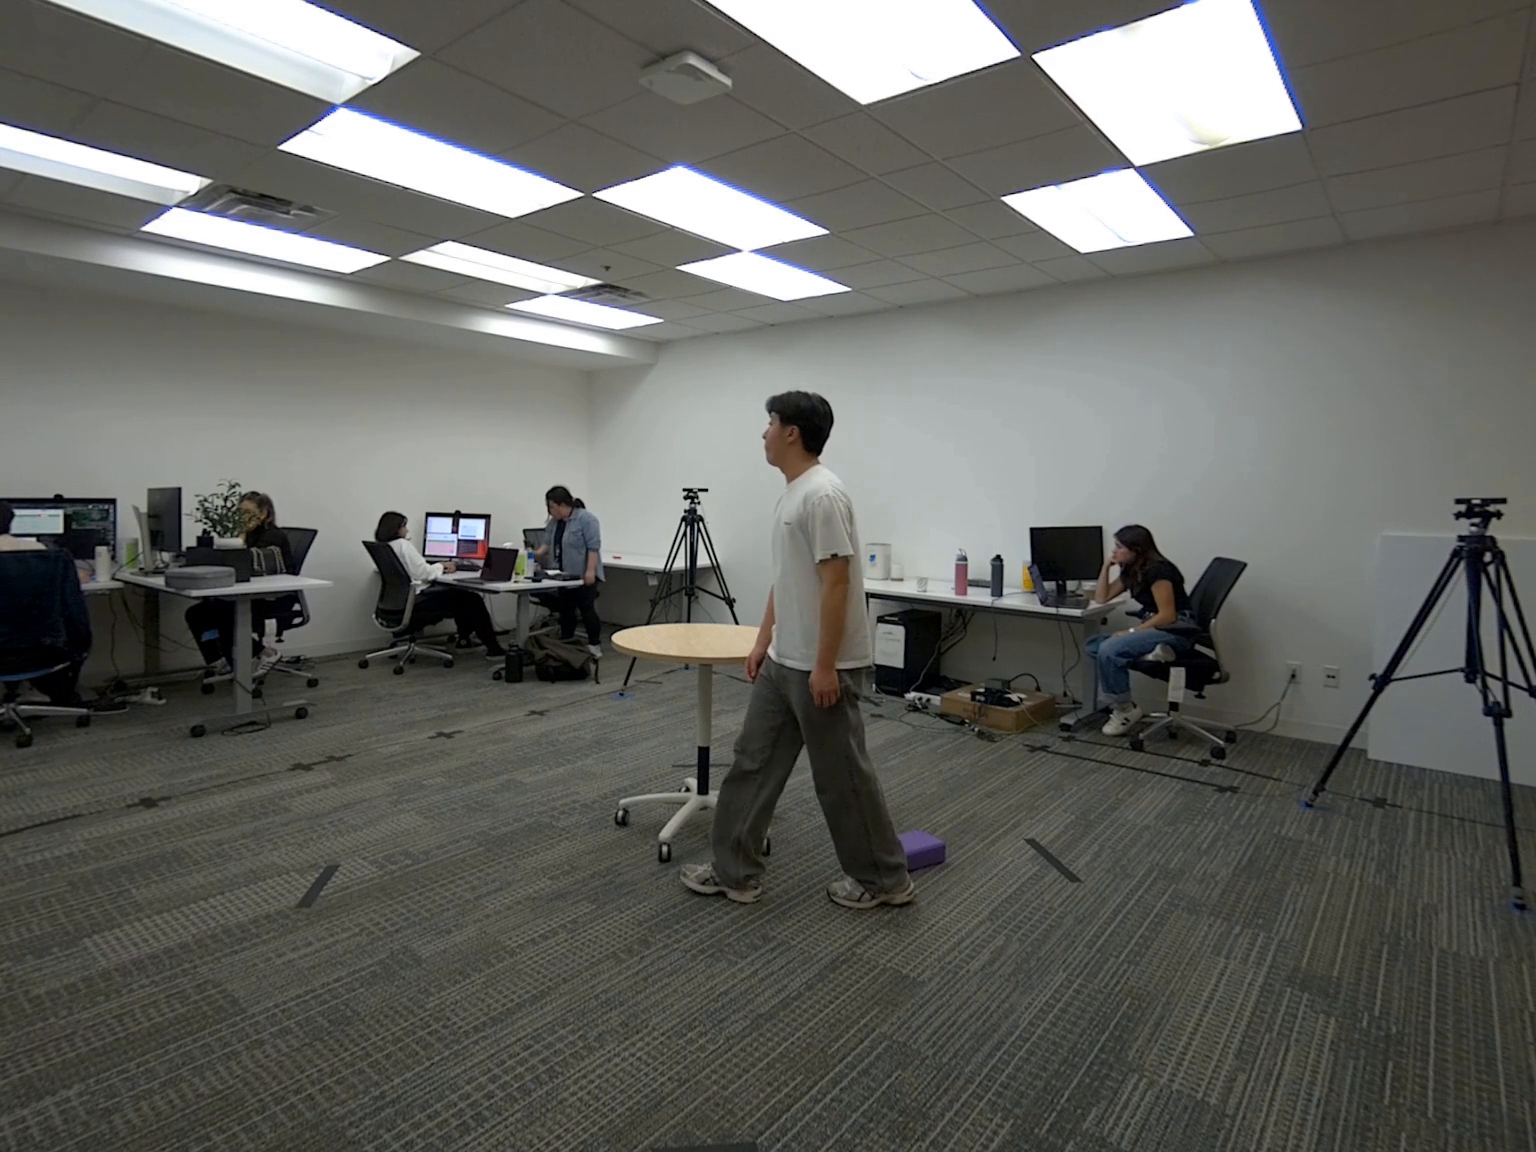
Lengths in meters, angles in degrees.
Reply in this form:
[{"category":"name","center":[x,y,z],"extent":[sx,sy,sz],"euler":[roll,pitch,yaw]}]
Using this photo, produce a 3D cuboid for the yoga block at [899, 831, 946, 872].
[{"category":"yoga block","center":[0.550,1.032,3.223],"extent":[0.223,0.076,0.154],"euler":[-2,6,-33]}]
